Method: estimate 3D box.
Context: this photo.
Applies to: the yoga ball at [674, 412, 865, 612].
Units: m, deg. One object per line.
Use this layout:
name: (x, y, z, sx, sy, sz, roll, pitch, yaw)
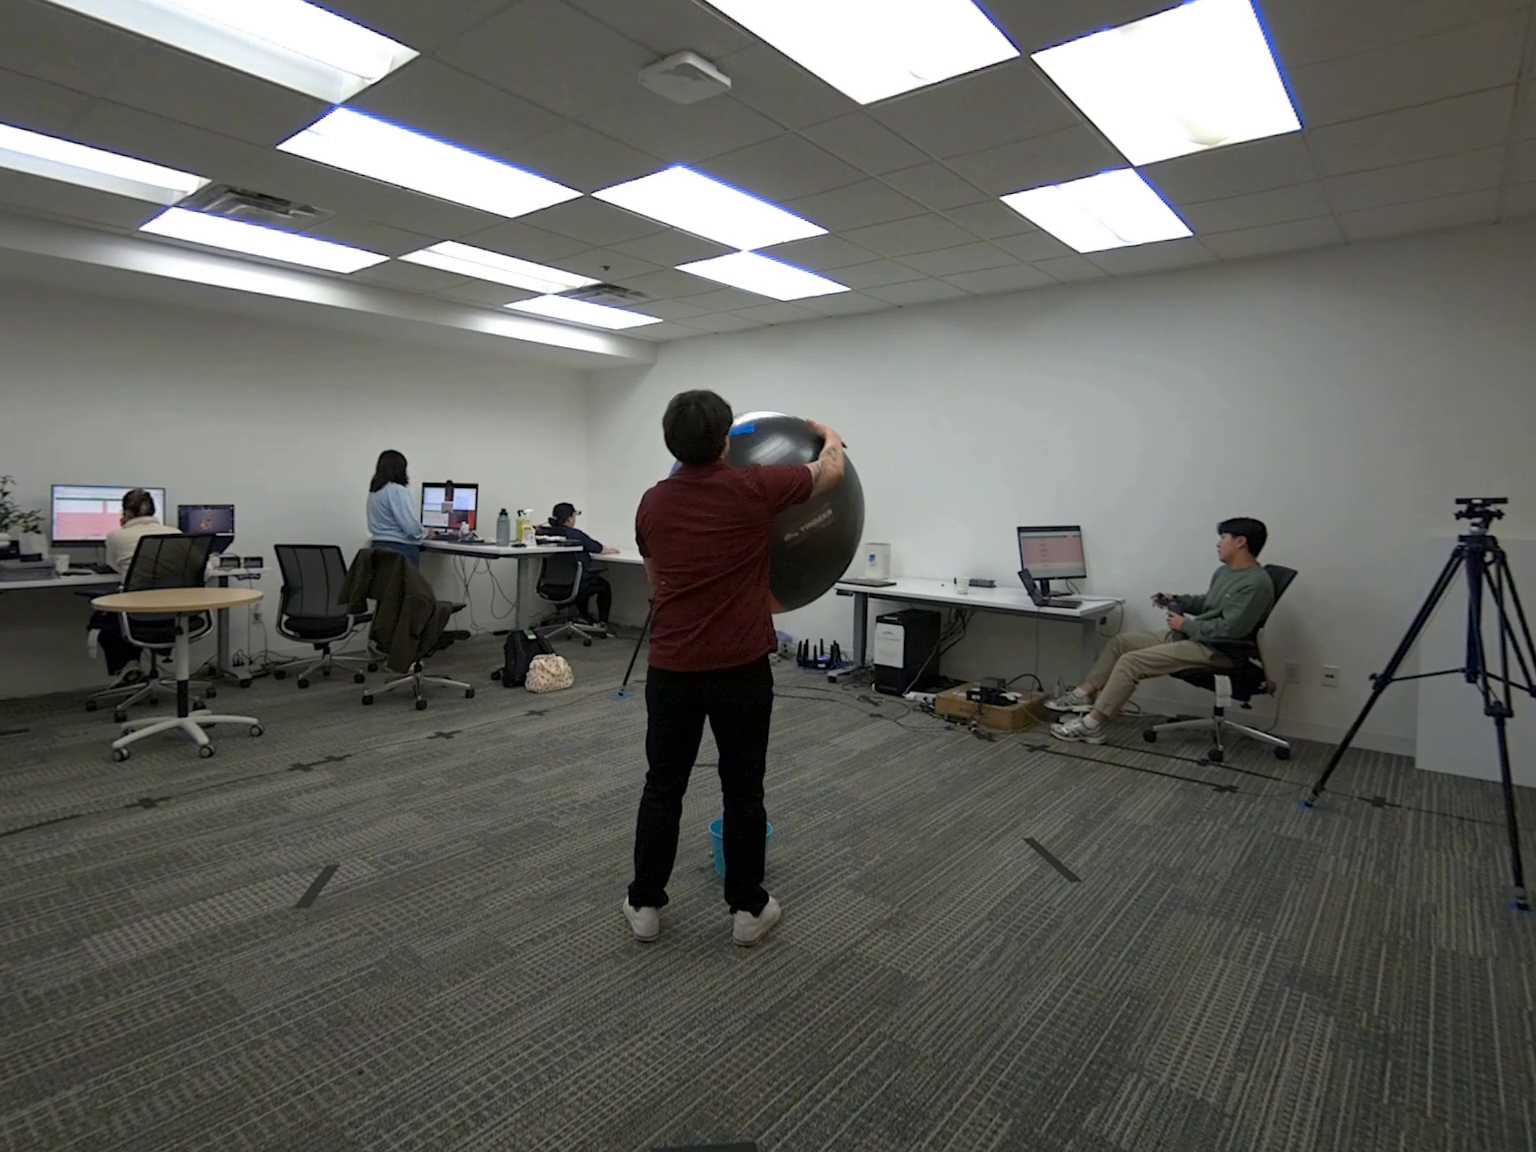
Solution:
yoga ball: (-0.021, -0.225, 3.186, 0.757, 0.756, 0.762, 1, 4, -2)
